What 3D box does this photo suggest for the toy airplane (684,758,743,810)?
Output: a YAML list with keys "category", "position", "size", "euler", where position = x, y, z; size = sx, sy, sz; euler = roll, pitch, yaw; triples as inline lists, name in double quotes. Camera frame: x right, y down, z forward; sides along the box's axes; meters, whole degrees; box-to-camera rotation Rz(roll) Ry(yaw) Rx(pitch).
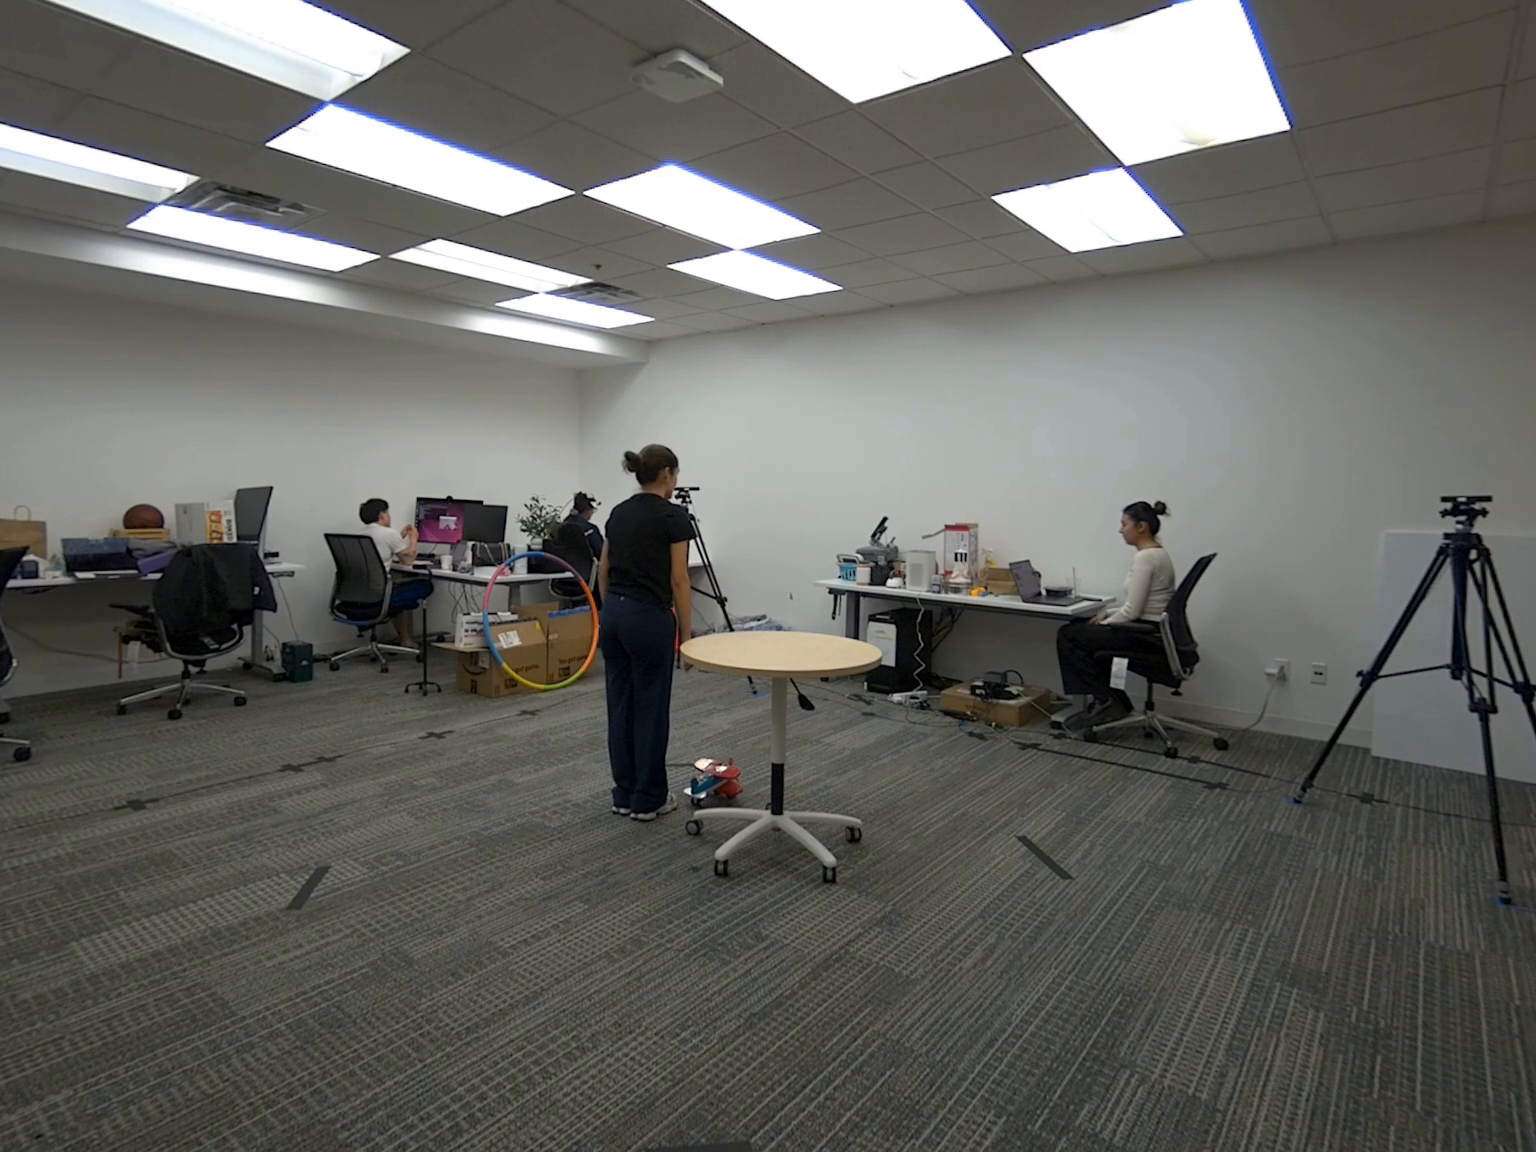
- category: "toy airplane"
  position: [-0.220, 0.929, 3.797]
  size: [0.255, 0.156, 0.256]
  euler: [2, 3, 14]
